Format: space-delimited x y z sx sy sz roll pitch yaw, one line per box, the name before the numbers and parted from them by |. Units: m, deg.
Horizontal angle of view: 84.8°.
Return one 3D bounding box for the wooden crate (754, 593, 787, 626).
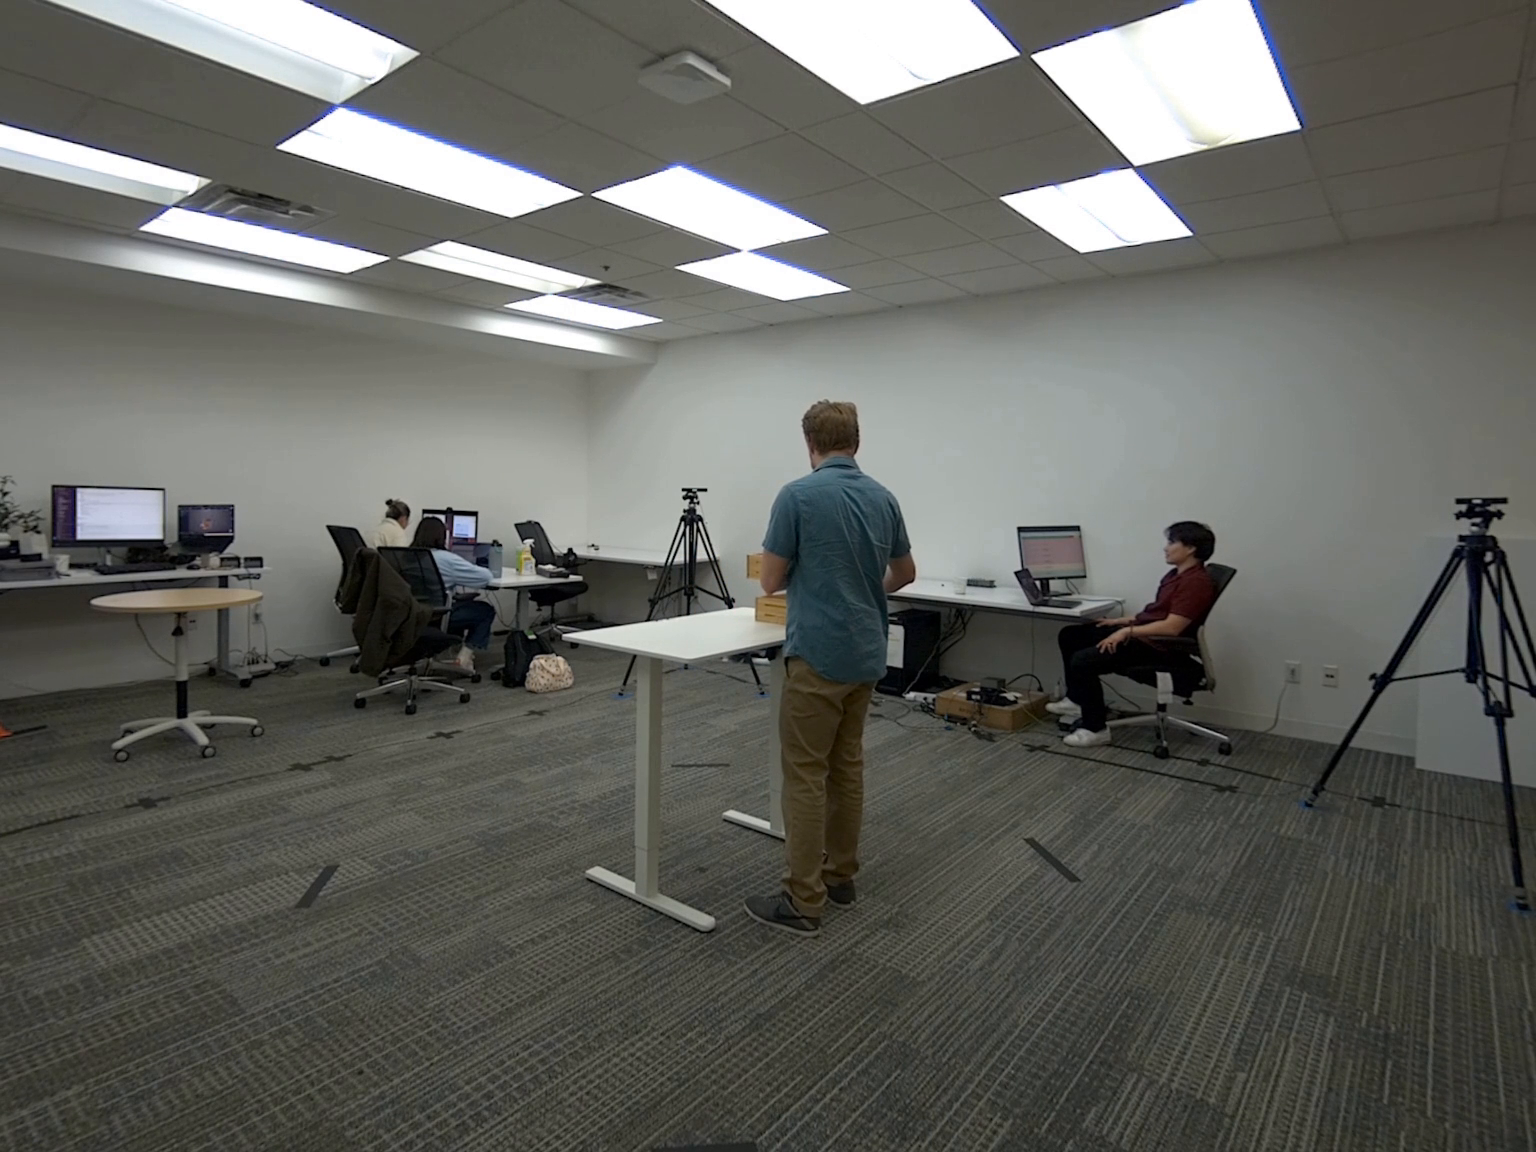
wooden crate | 0.119 0.040 3.262 0.335 0.272 0.293 4 6 40
